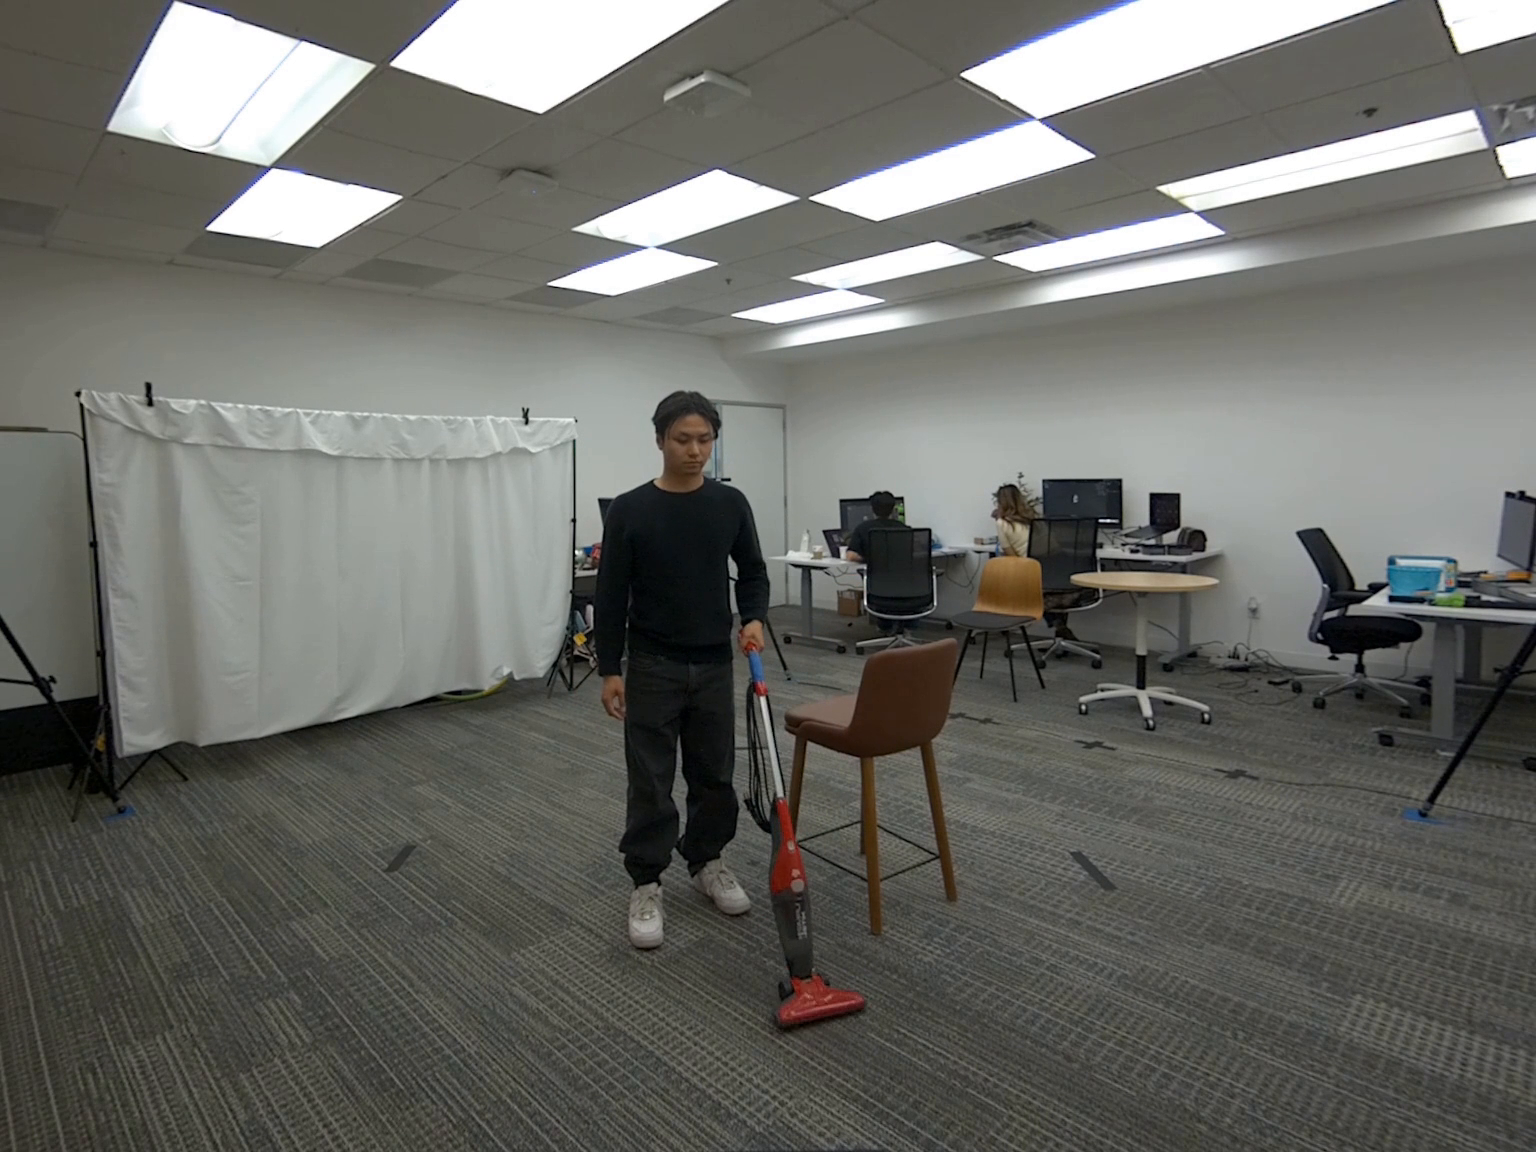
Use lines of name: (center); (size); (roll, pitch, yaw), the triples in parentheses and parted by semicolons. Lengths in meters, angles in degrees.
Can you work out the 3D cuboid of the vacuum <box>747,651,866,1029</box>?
vacuum: (0.029, 0.657, 2.467); (0.247, 1.075, 0.143); (1, -27, -25)
